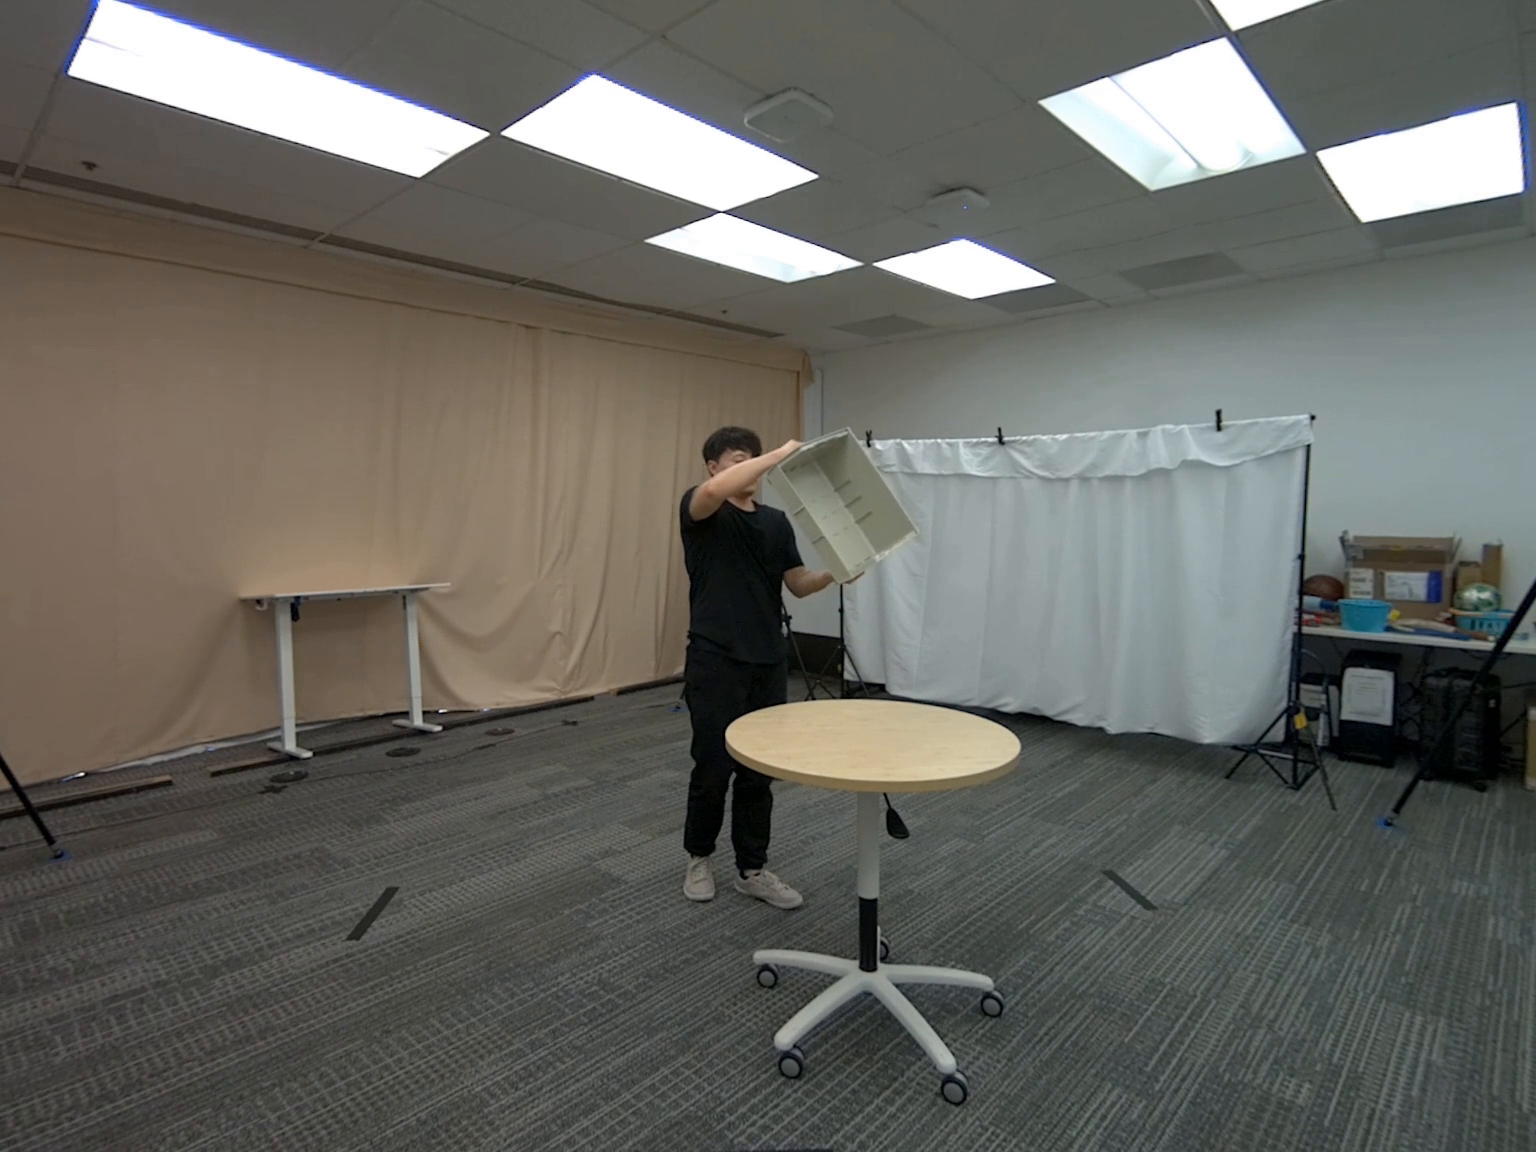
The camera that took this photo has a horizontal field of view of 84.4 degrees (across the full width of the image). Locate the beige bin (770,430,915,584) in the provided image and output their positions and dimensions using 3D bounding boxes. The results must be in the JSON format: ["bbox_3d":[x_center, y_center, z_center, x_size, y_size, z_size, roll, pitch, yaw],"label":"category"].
[{"bbox_3d":[0.232,-0.220,2.674,0.191,0.425,0.370,-37,-5,35],"label":"beige bin"}]
